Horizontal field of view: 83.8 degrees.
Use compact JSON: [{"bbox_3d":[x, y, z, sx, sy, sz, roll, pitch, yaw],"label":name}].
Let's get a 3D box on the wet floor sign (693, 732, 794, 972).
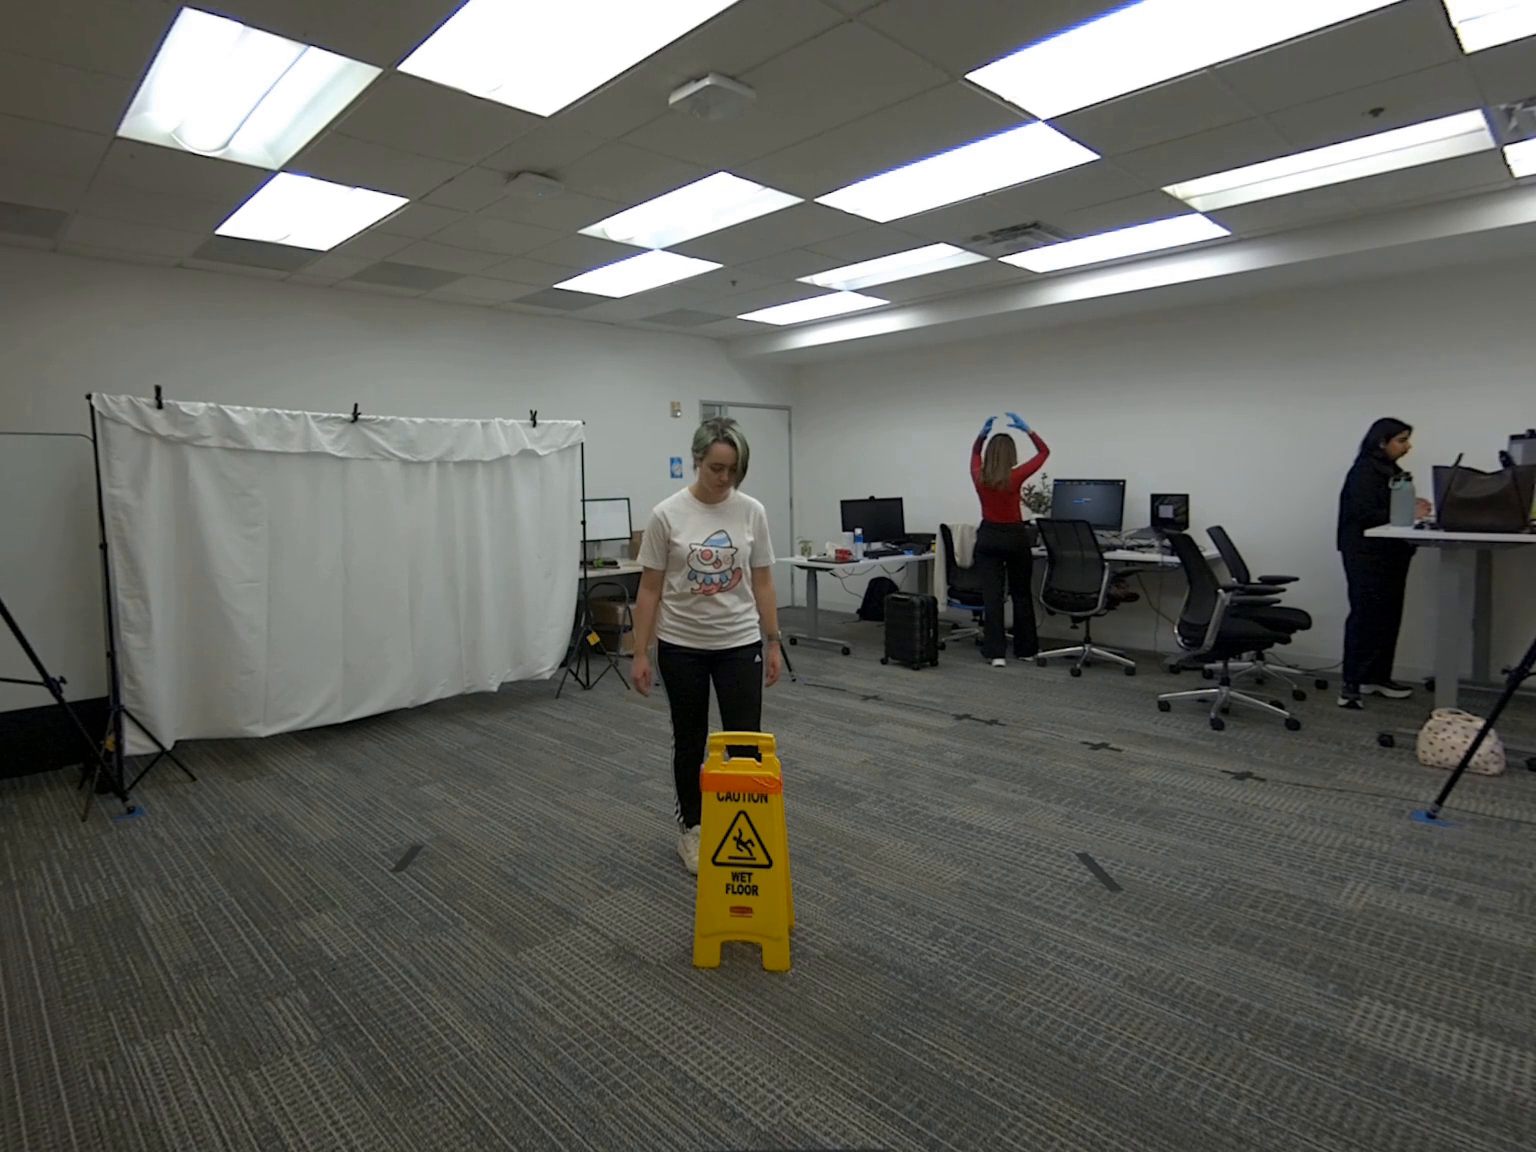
[{"bbox_3d":[-0.083,0.791,2.541,0.284,0.643,0.289,-2,4,6],"label":"wet floor sign"}]
